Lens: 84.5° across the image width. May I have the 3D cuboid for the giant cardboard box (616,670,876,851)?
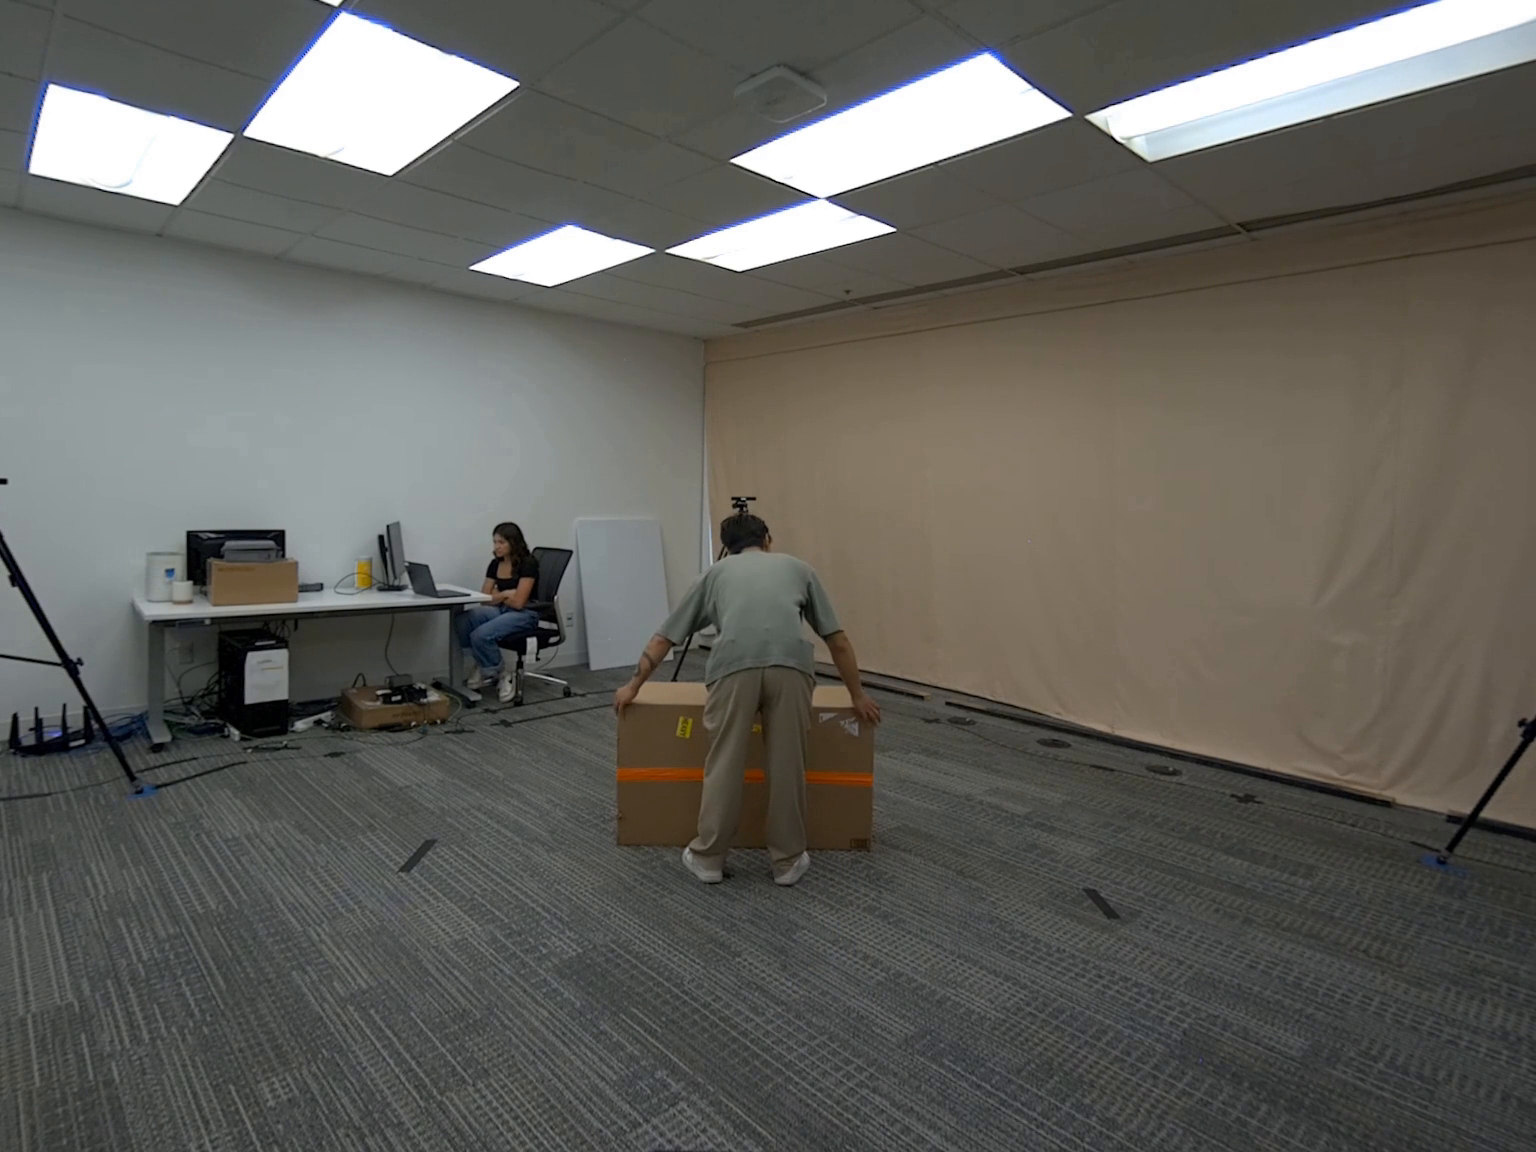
[{"bbox_3d":[-0.105,0.775,3.552,1.025,0.576,0.427,1,3,0],"label":"giant cardboard box"}]
